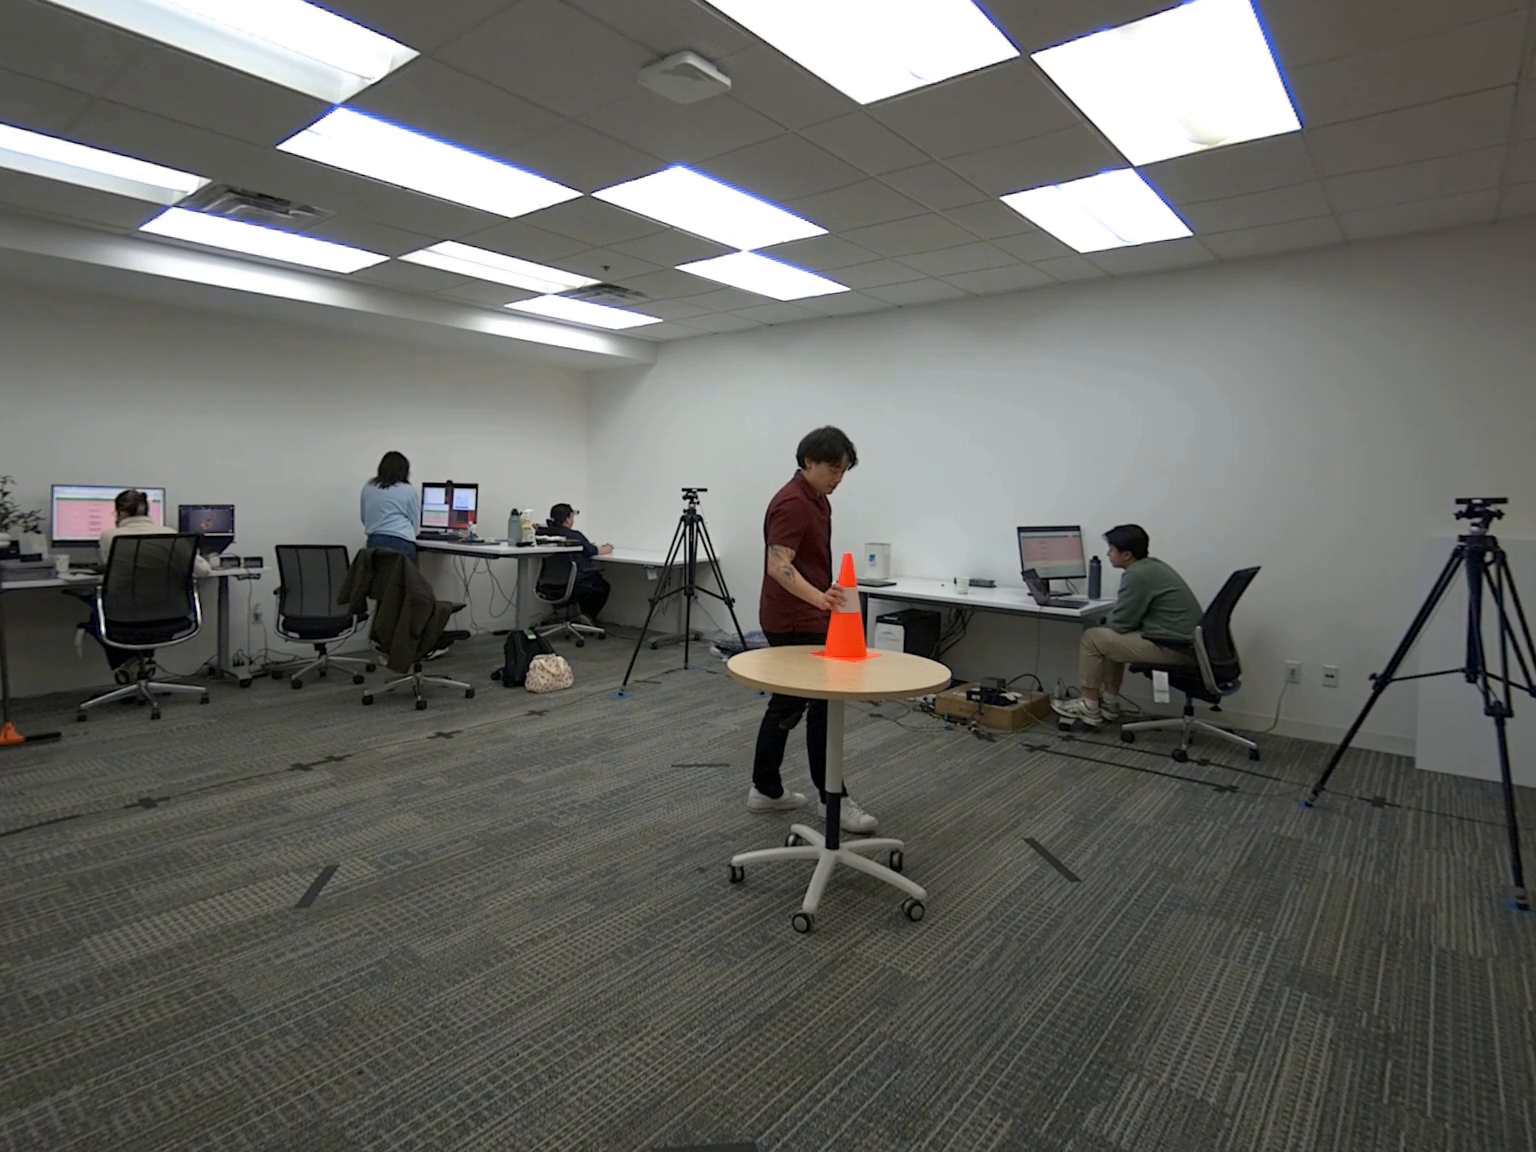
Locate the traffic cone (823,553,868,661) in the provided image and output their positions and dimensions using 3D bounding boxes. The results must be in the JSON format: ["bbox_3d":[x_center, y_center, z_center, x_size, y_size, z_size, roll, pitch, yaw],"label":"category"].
[{"bbox_3d":[0.289,0.103,3.150,0.212,0.382,0.198,3,7,37],"label":"traffic cone"}]
